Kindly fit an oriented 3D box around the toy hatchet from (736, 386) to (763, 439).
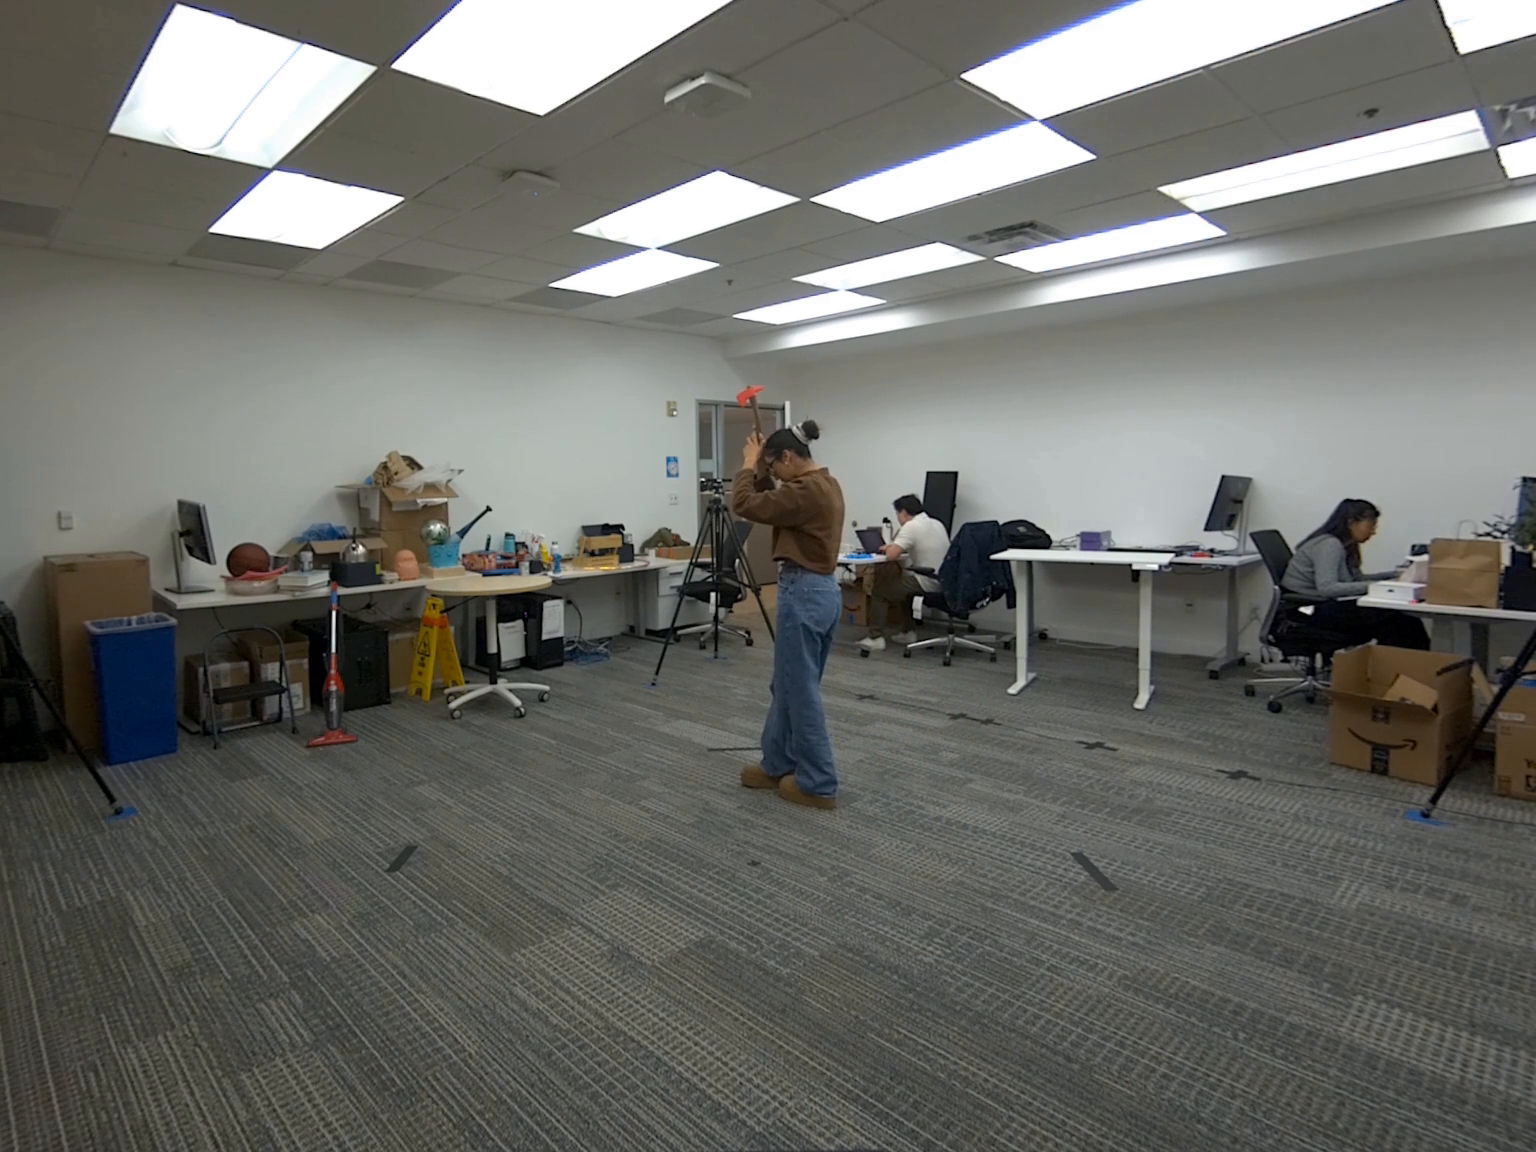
[{"bbox_3d":[-0.083,-0.710,3.768,0.133,0.270,0.029,2,-2,12],"label":"toy hatchet"}]
